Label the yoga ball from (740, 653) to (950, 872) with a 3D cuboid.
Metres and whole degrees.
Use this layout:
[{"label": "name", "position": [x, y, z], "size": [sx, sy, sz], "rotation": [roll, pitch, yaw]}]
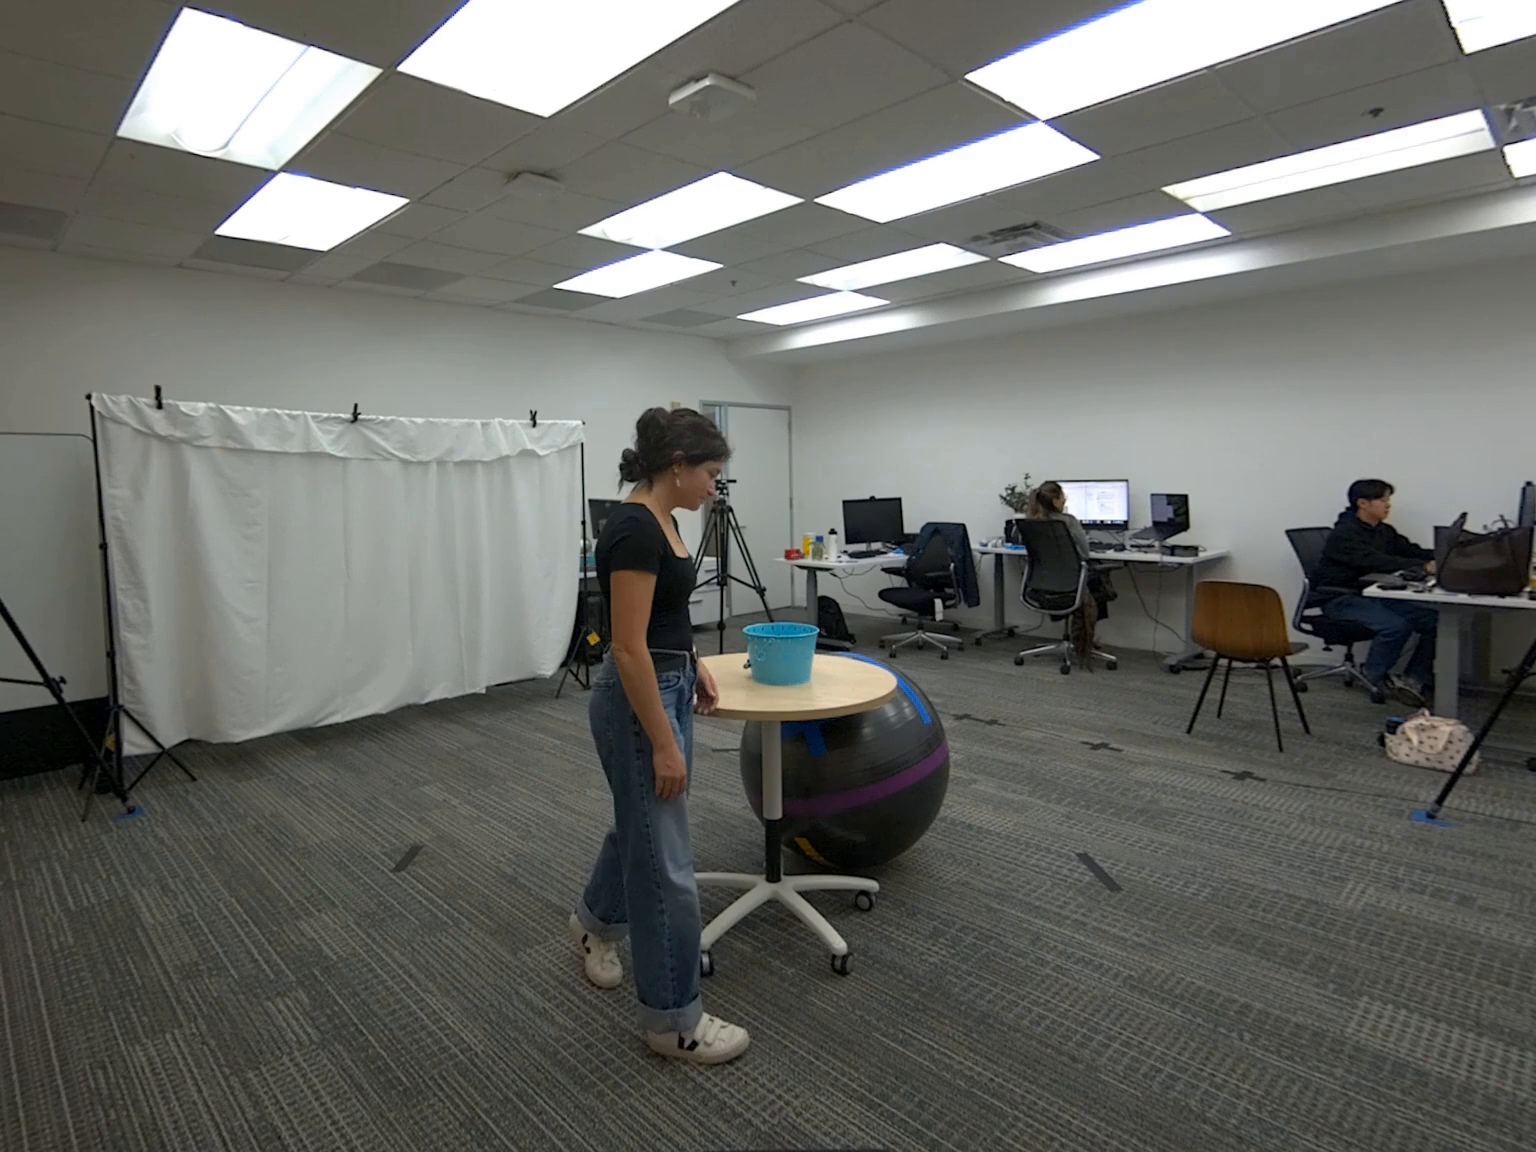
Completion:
[{"label": "yoga ball", "position": [0.274, 0.669, 3.132], "size": [0.757, 0.755, 0.762], "rotation": [-1, 5, -2]}]
